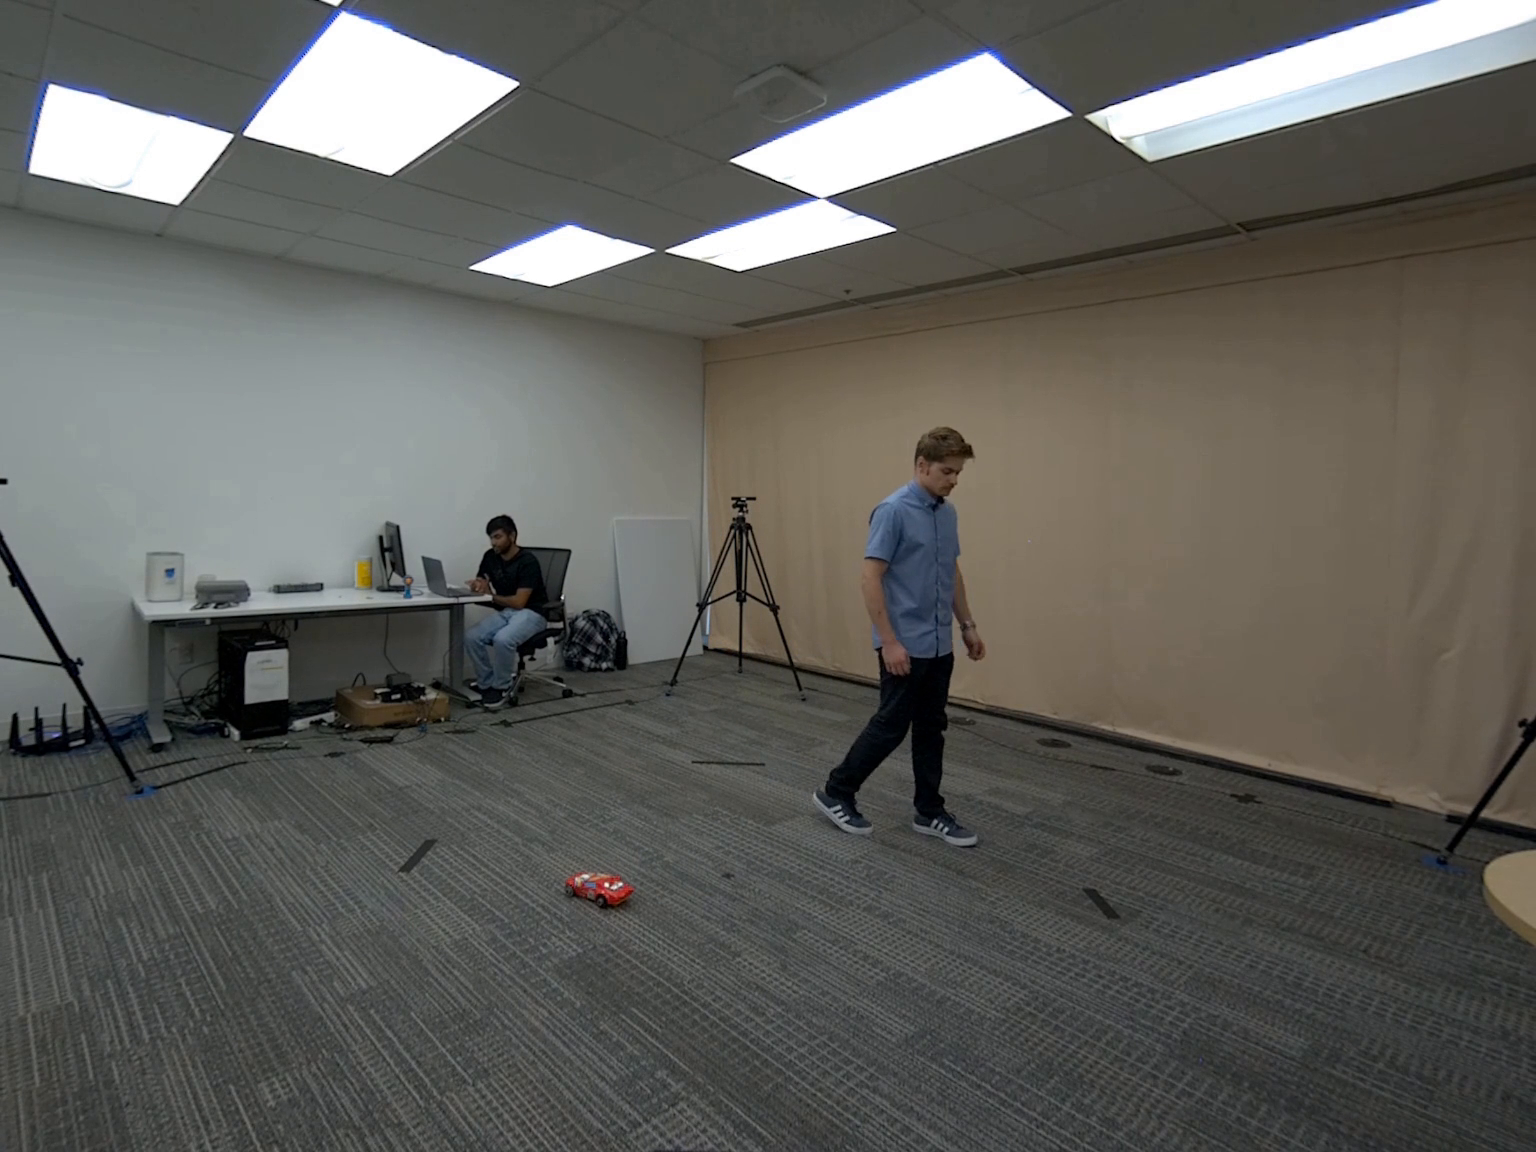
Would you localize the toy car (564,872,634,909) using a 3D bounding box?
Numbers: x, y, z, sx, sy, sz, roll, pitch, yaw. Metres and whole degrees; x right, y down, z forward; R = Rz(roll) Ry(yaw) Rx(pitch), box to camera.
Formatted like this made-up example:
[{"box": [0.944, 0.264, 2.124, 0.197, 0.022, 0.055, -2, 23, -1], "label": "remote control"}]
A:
[{"box": [-0.585, 1.084, 2.905, 0.259, 0.083, 0.128, -9, -1, 33], "label": "toy car"}]
